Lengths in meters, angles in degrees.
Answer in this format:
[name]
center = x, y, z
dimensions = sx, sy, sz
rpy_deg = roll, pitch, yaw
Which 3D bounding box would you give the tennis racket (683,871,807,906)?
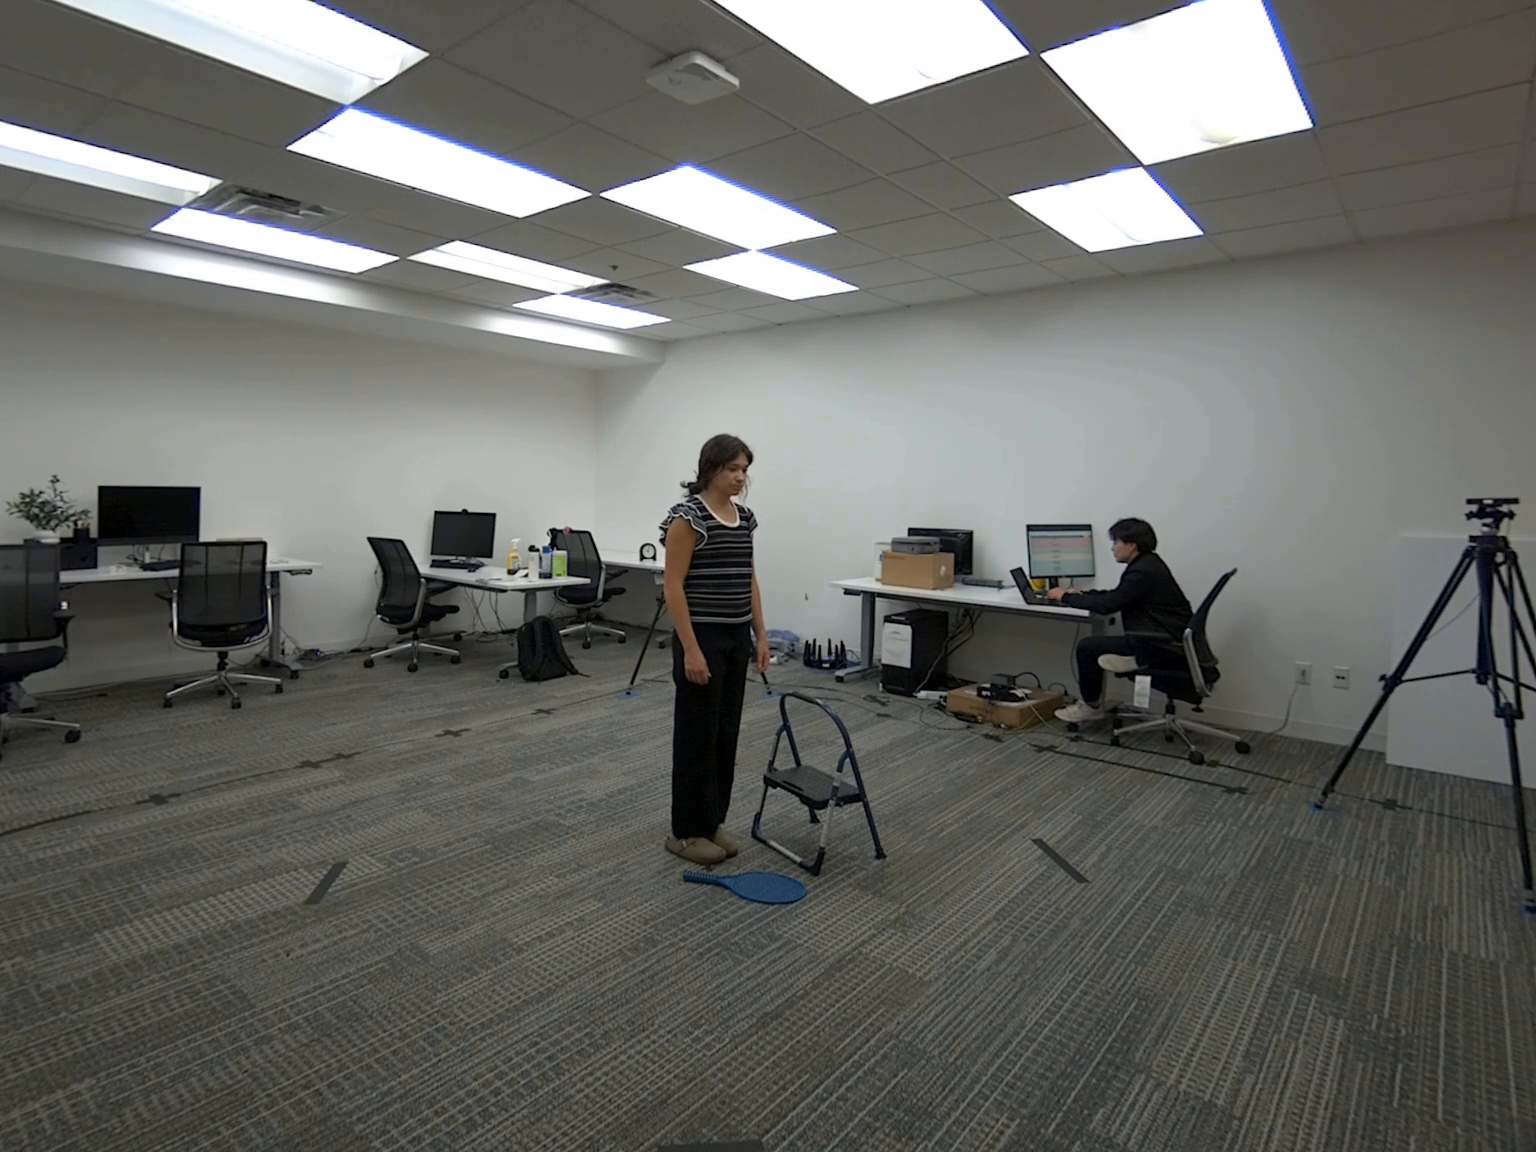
[tennis racket]
center = -0.091, 1.064, 2.974
dimensions = 0.438, 0.031, 0.212
rpy_deg = 4, 5, 10
